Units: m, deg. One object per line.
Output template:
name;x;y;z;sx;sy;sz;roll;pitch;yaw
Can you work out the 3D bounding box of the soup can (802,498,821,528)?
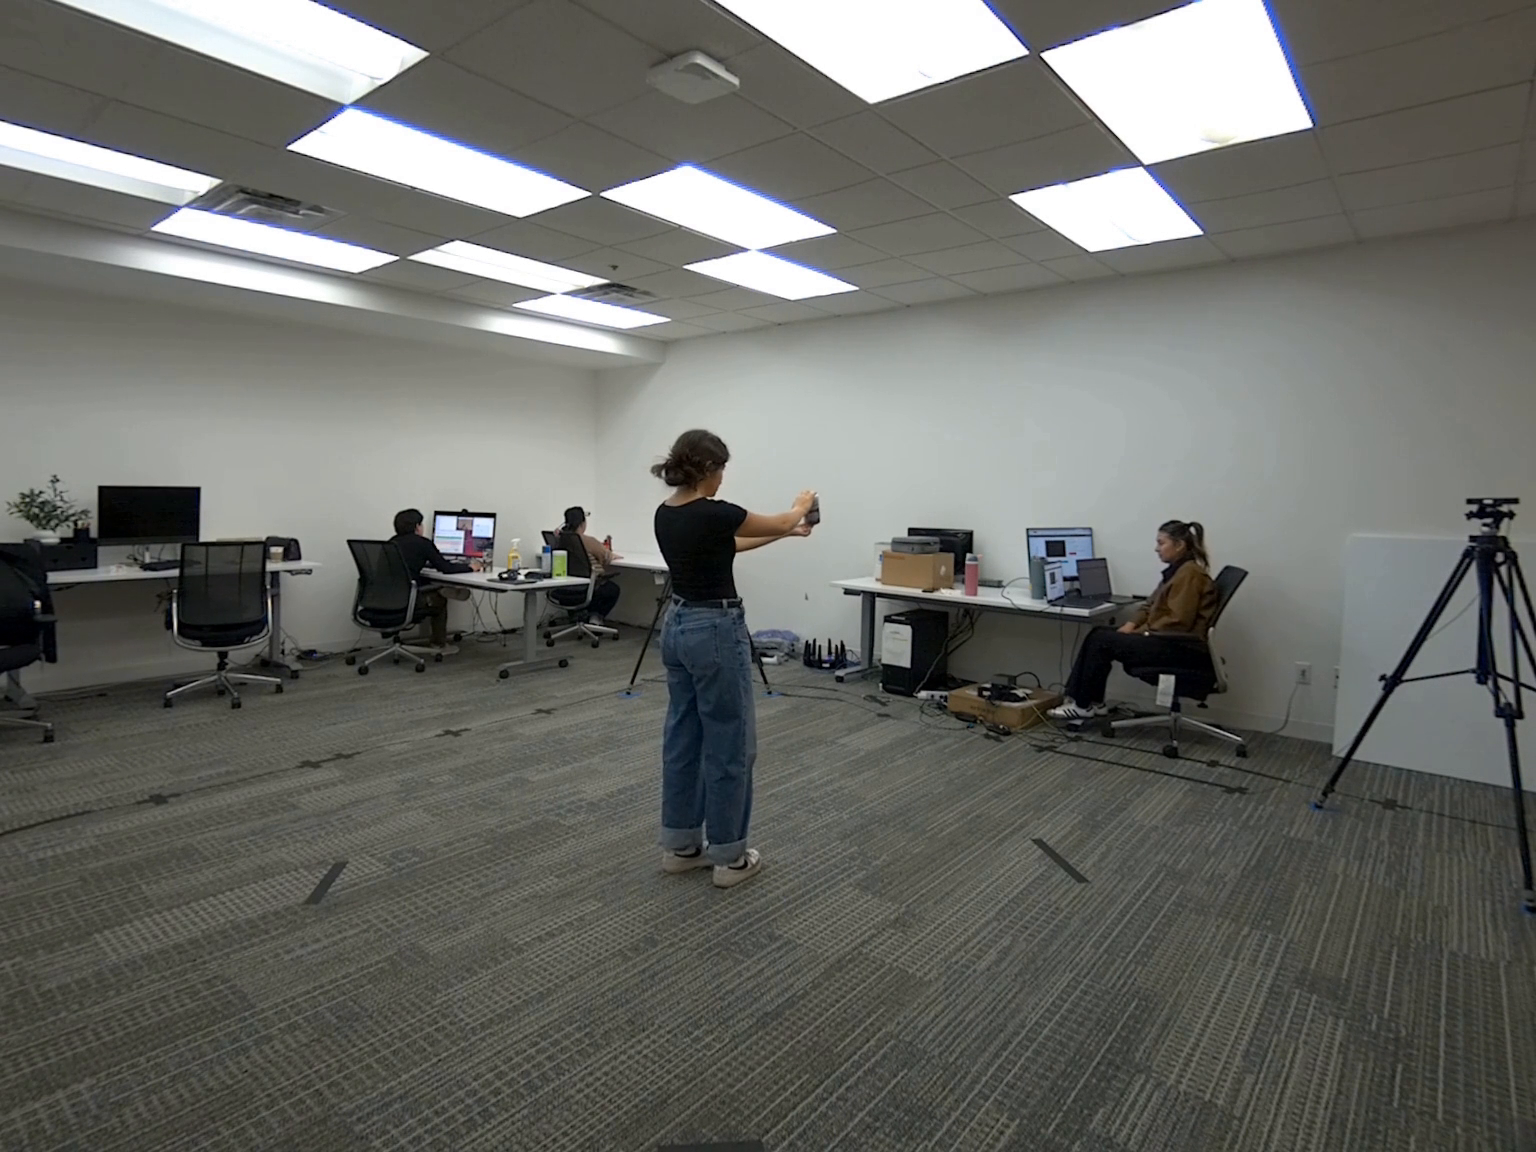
soup can;0.166;-0.276;3.419;0.067;0.119;0.068;-2;20;-1
